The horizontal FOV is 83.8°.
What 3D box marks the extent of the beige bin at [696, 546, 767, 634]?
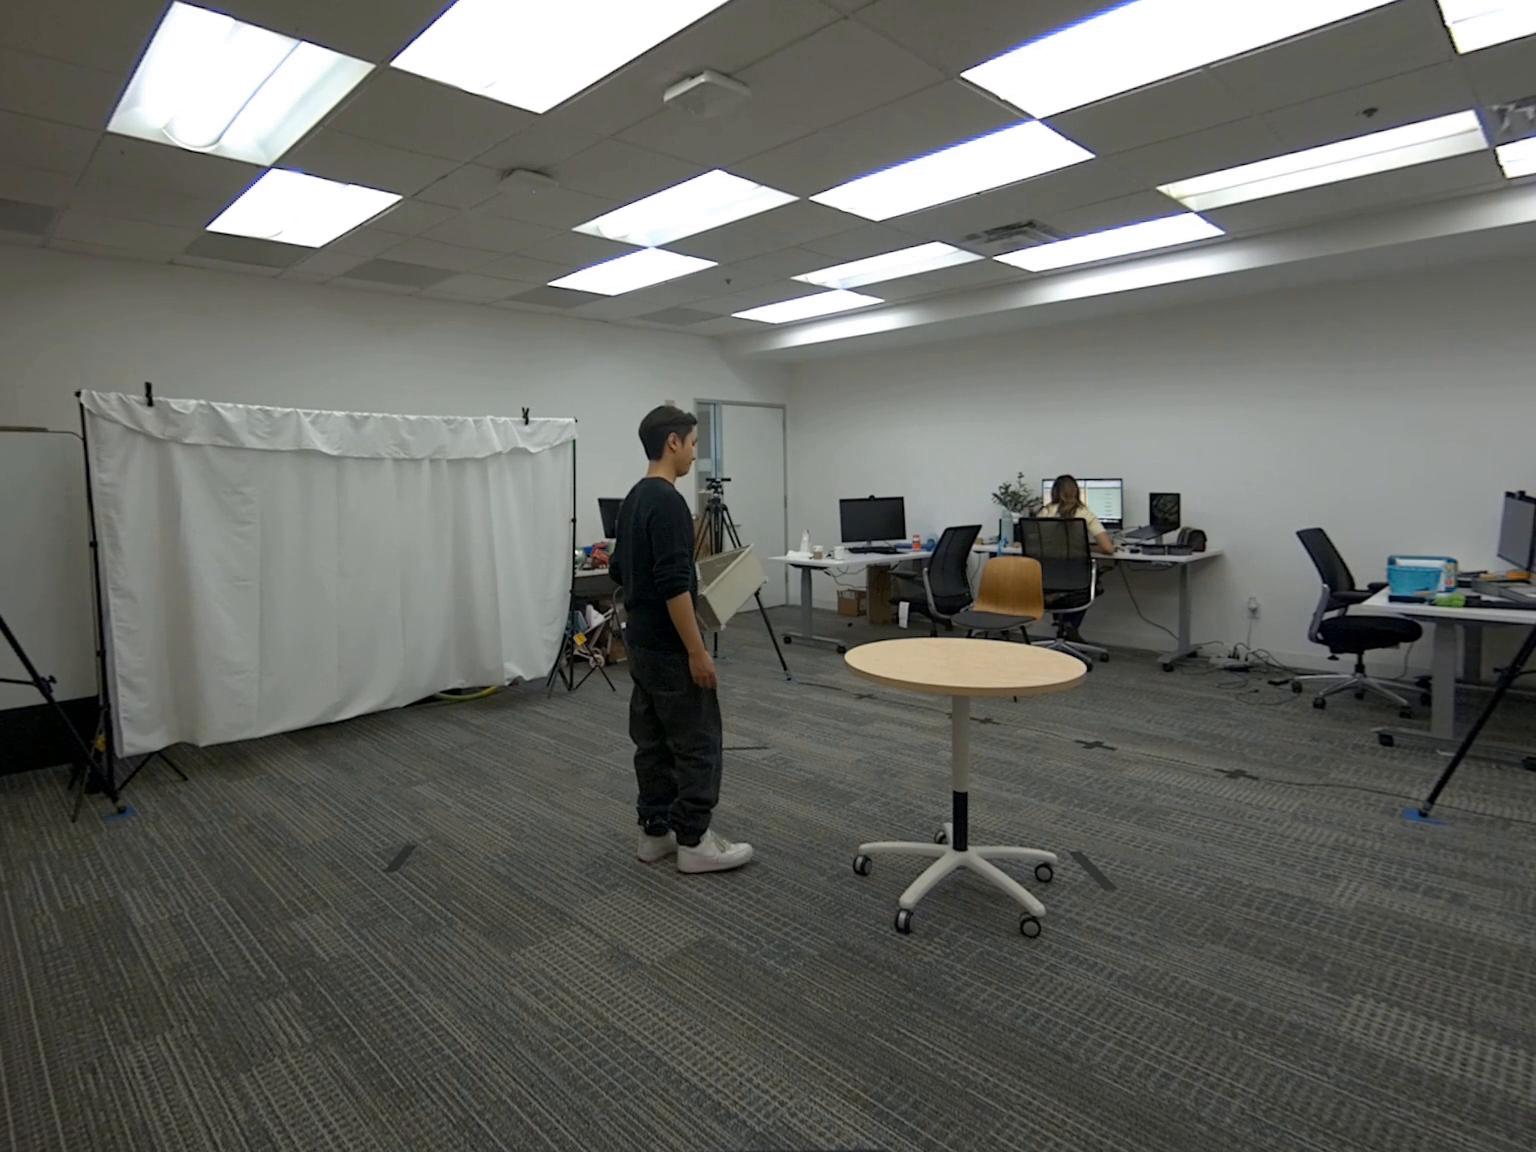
[{"bbox_3d":[-0.260,0.070,3.671,0.385,0.186,0.421,-14,21,40],"label":"beige bin"}]
